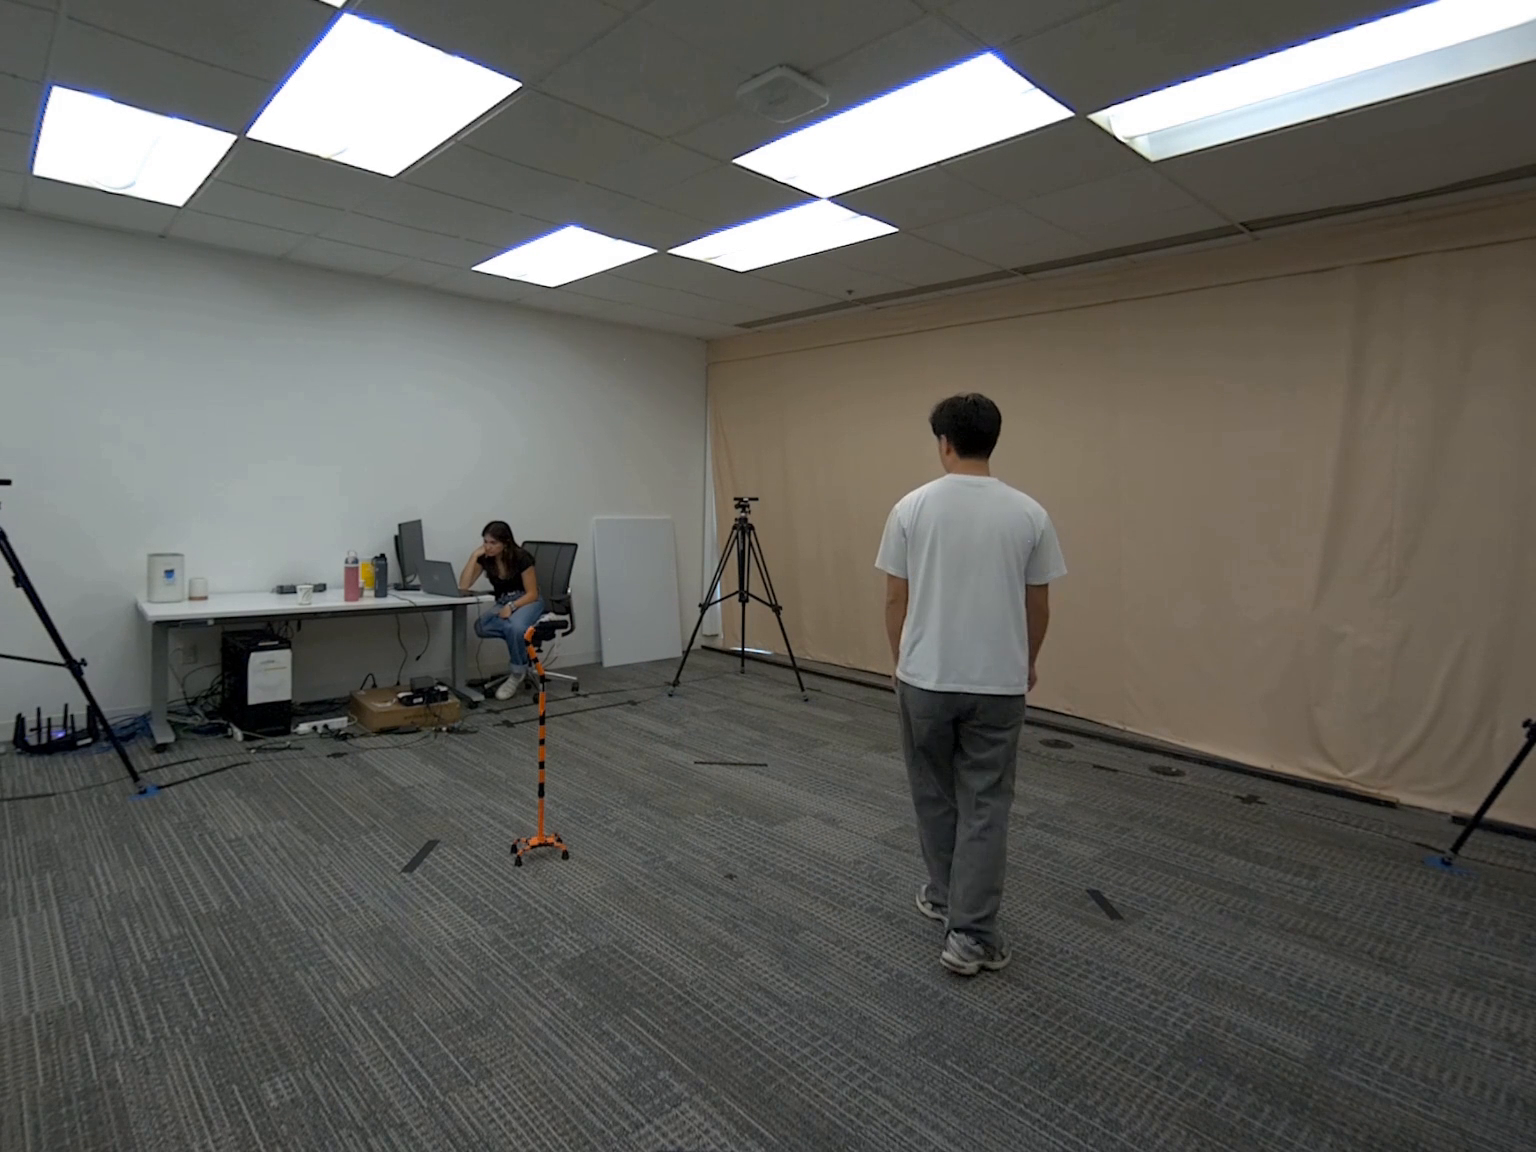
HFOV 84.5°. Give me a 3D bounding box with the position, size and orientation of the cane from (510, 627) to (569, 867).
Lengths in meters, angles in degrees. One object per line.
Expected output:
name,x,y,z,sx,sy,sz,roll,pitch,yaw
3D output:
cane,-0.878,0.632,3.224,0.203,0.906,0.154,0,3,-24
